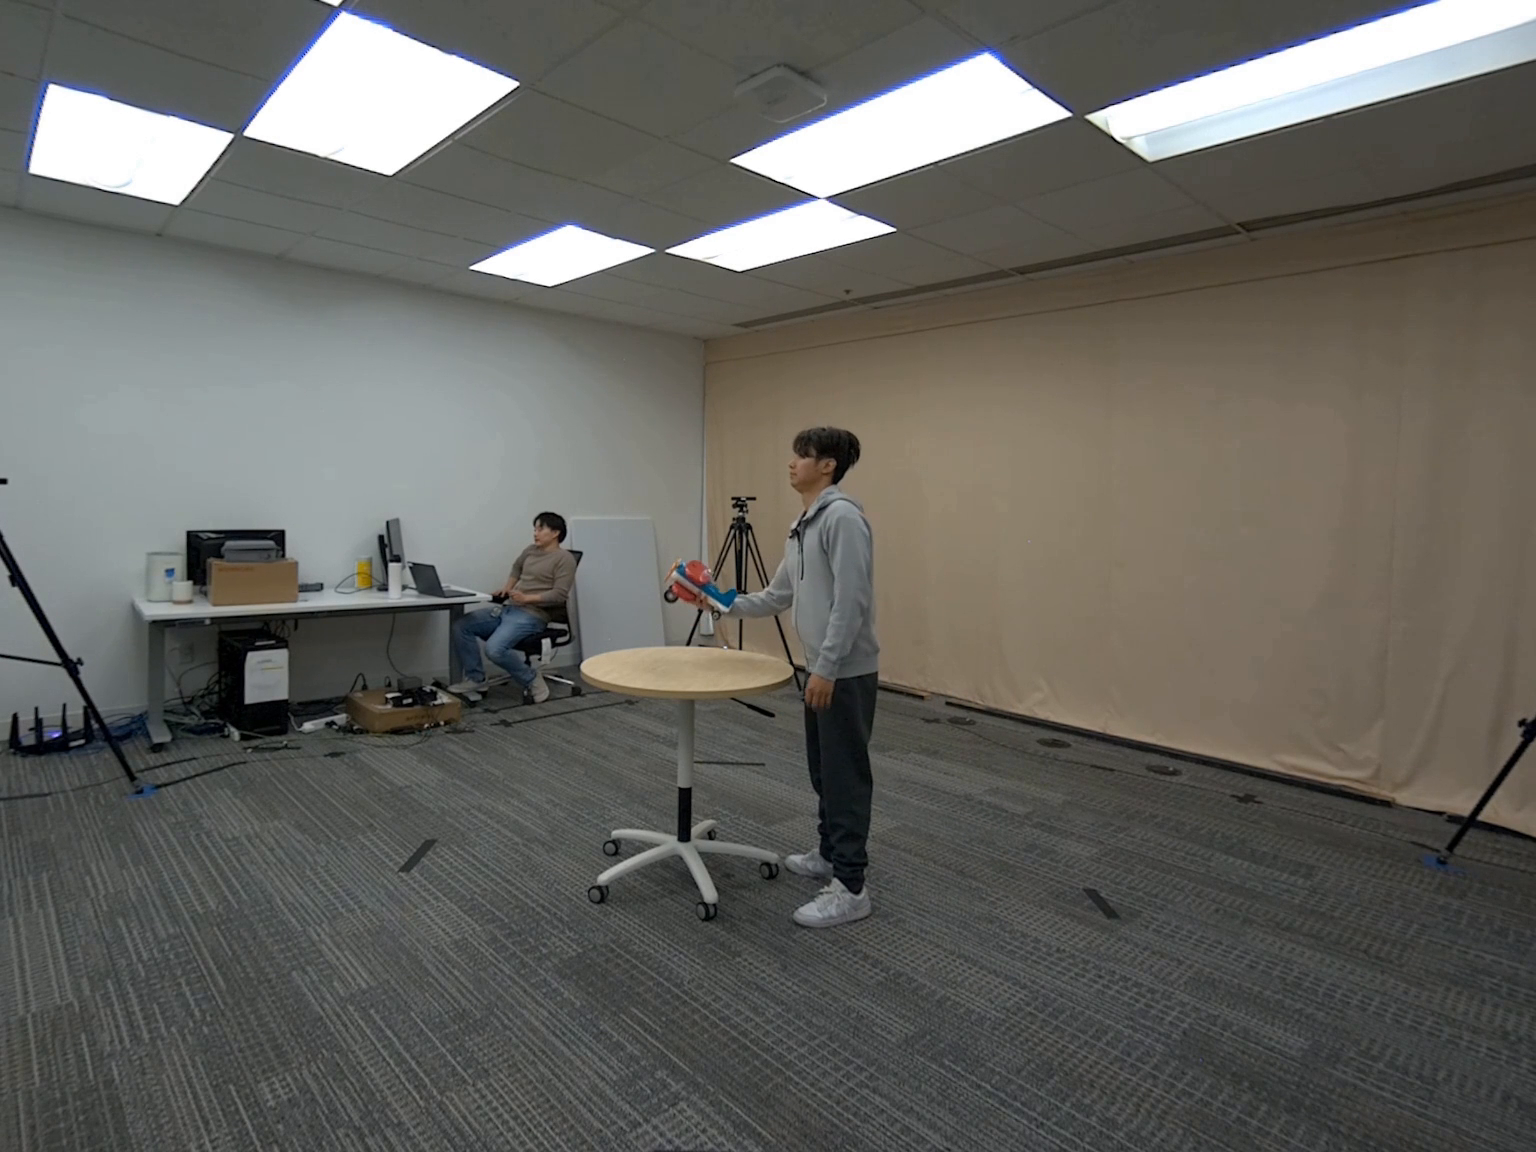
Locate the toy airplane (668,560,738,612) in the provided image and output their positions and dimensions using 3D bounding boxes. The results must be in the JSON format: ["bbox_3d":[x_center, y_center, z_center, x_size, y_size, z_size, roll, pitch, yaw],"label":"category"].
[{"bbox_3d":[-0.250,0.048,3.088,0.253,0.156,0.258,17,11,-27],"label":"toy airplane"}]
